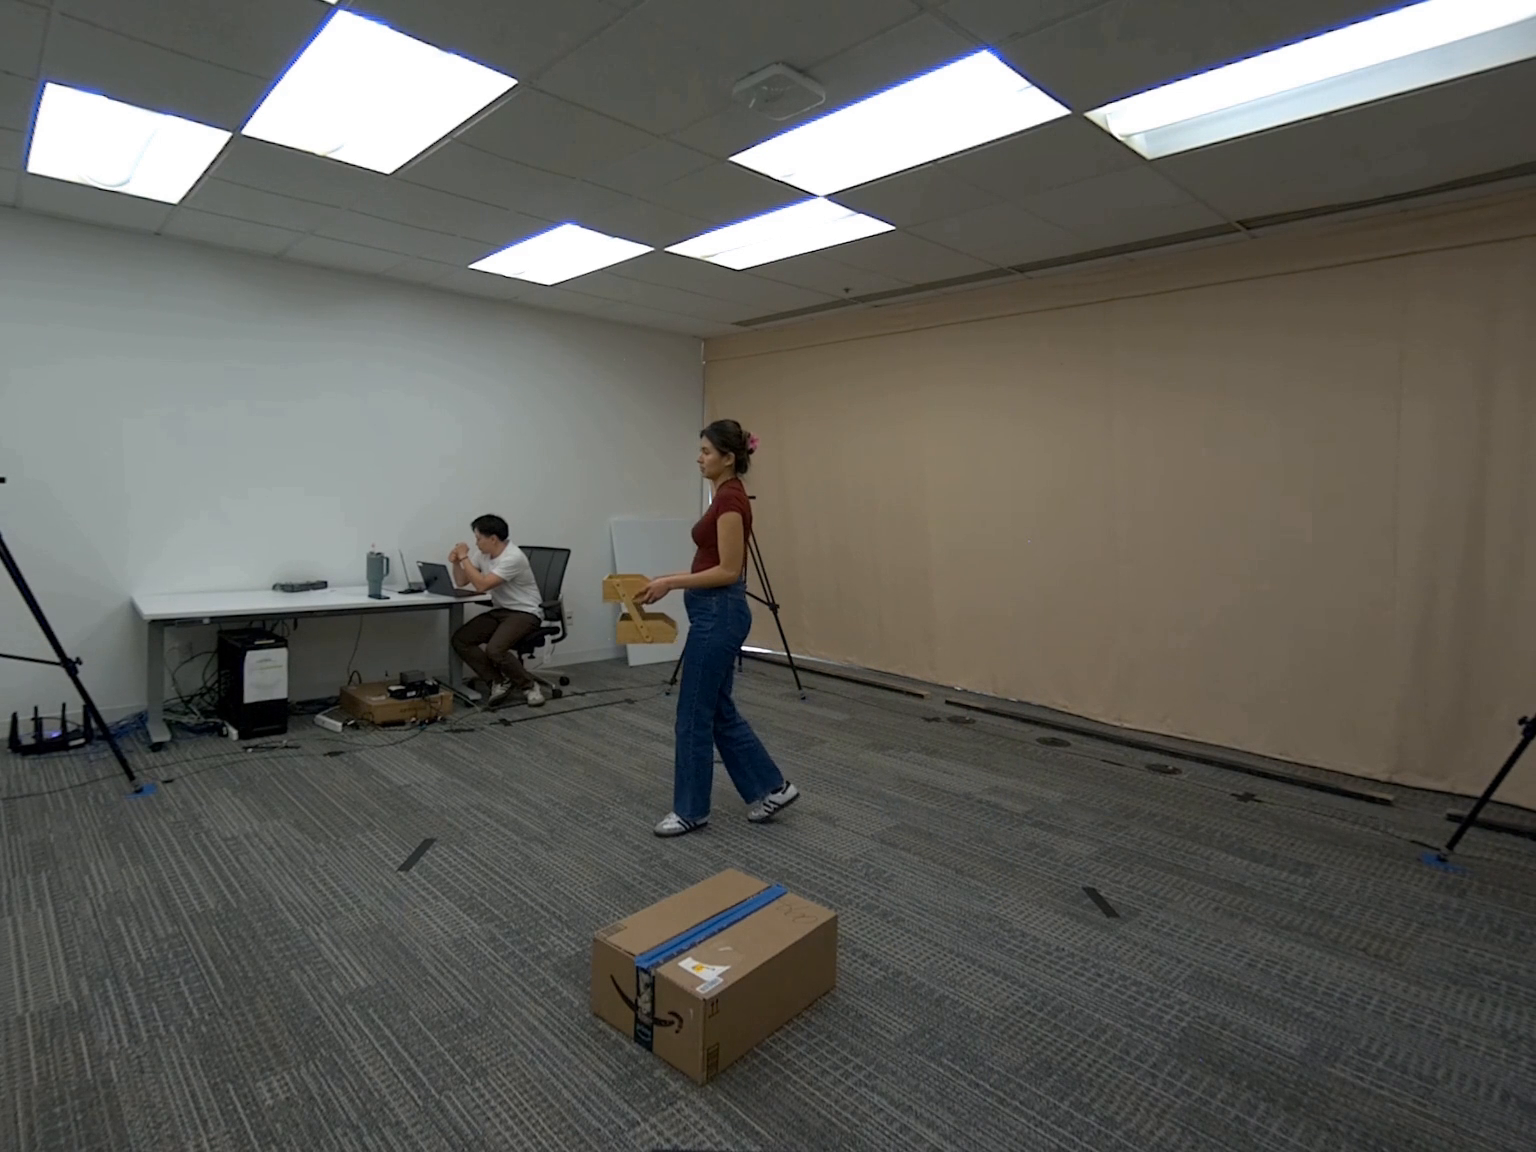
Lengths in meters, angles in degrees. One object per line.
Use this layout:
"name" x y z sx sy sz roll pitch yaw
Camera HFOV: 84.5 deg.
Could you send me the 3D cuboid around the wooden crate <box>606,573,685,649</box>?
"wooden crate" -0.507 0.137 3.514 0.301 0.273 0.326 1 3 -6
